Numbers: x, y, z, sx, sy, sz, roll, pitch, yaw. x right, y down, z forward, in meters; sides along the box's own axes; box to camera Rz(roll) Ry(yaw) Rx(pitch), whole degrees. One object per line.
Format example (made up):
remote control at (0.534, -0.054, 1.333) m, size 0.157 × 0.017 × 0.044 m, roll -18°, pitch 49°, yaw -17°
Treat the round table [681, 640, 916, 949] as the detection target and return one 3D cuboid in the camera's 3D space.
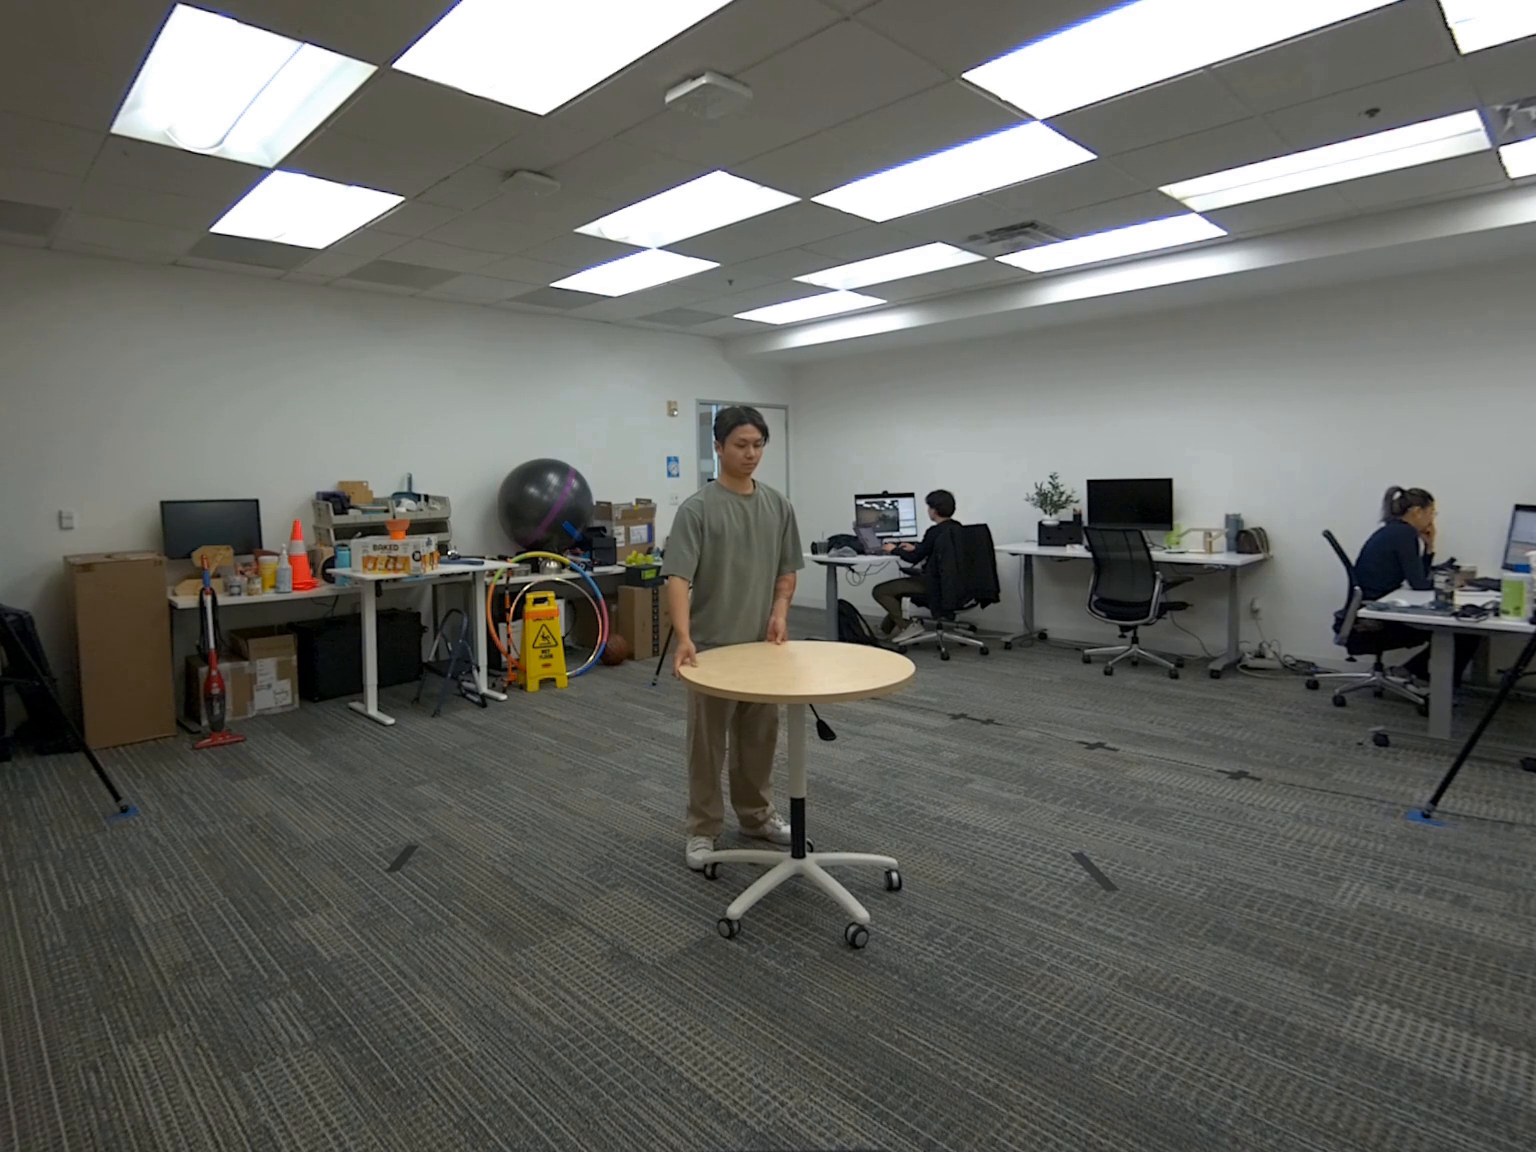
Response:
round table at (0.106, 0.679, 2.829) m, size 0.784 × 0.783 × 0.789 m, roll -1°, pitch 5°, yaw -2°
